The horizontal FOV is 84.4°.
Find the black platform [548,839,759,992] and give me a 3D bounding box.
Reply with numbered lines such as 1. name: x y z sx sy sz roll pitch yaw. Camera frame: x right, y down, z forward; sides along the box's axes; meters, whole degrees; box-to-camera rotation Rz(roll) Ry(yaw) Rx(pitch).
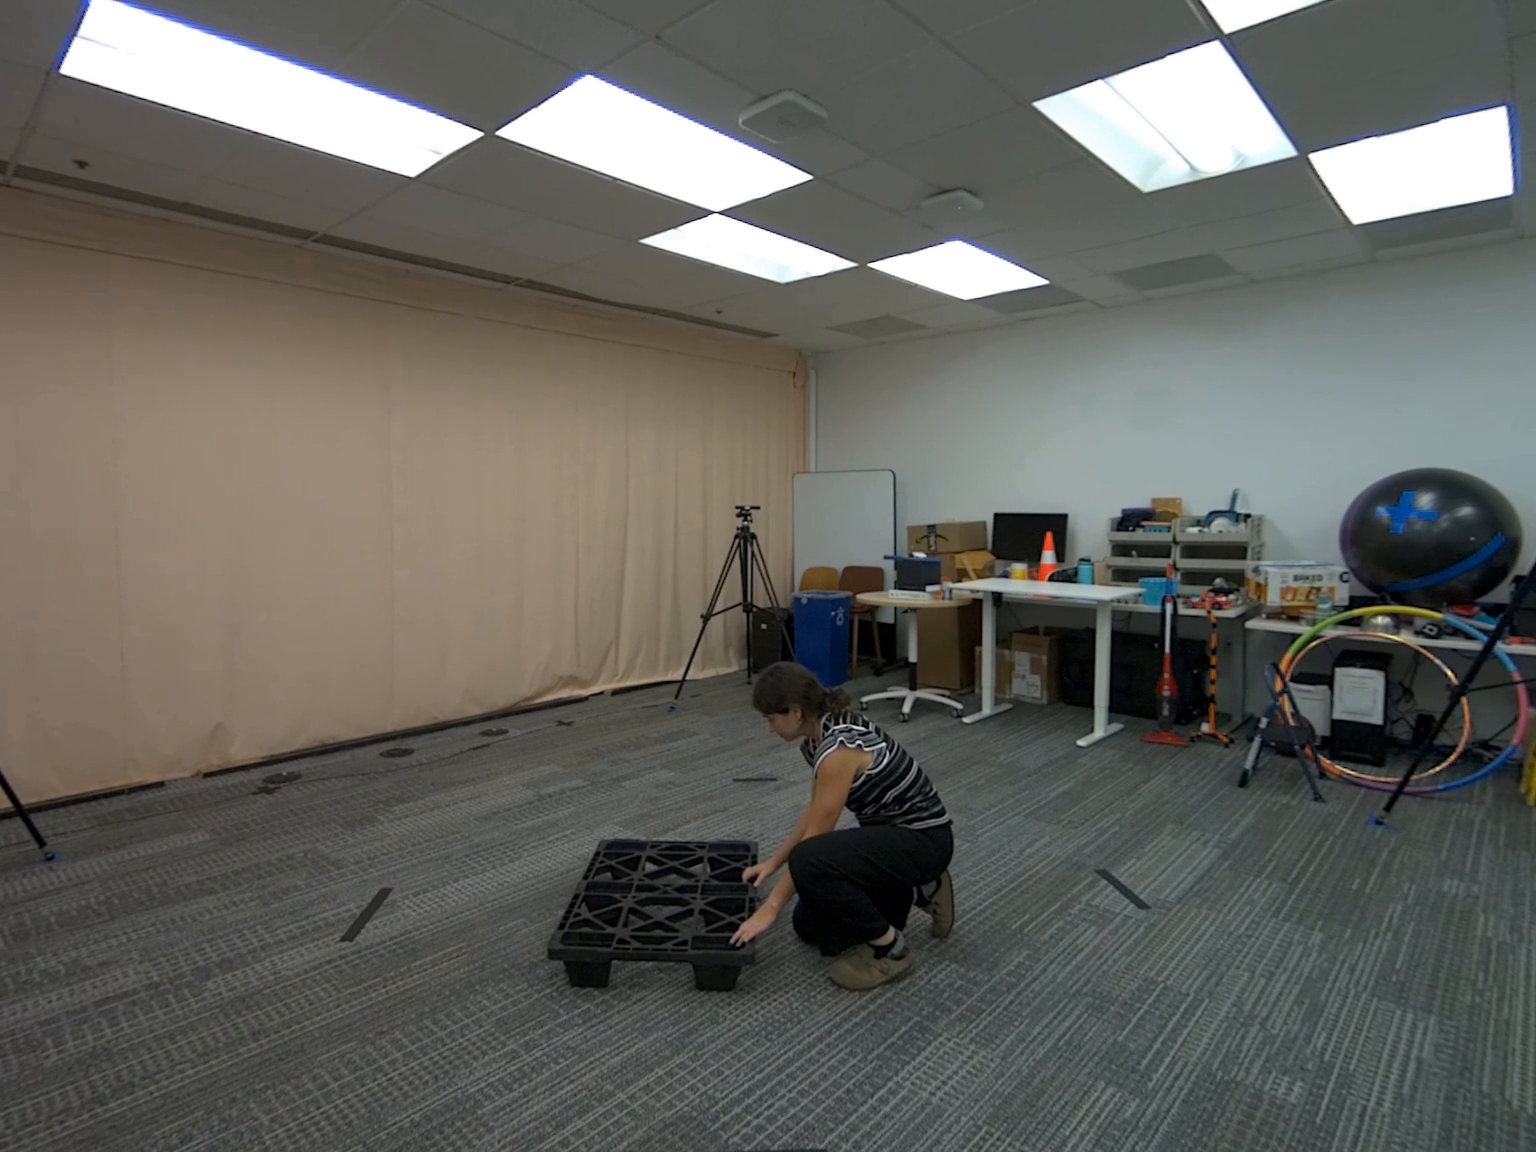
1. black platform: -0.330 1.094 2.791 0.607 0.143 0.805 0 5 1
